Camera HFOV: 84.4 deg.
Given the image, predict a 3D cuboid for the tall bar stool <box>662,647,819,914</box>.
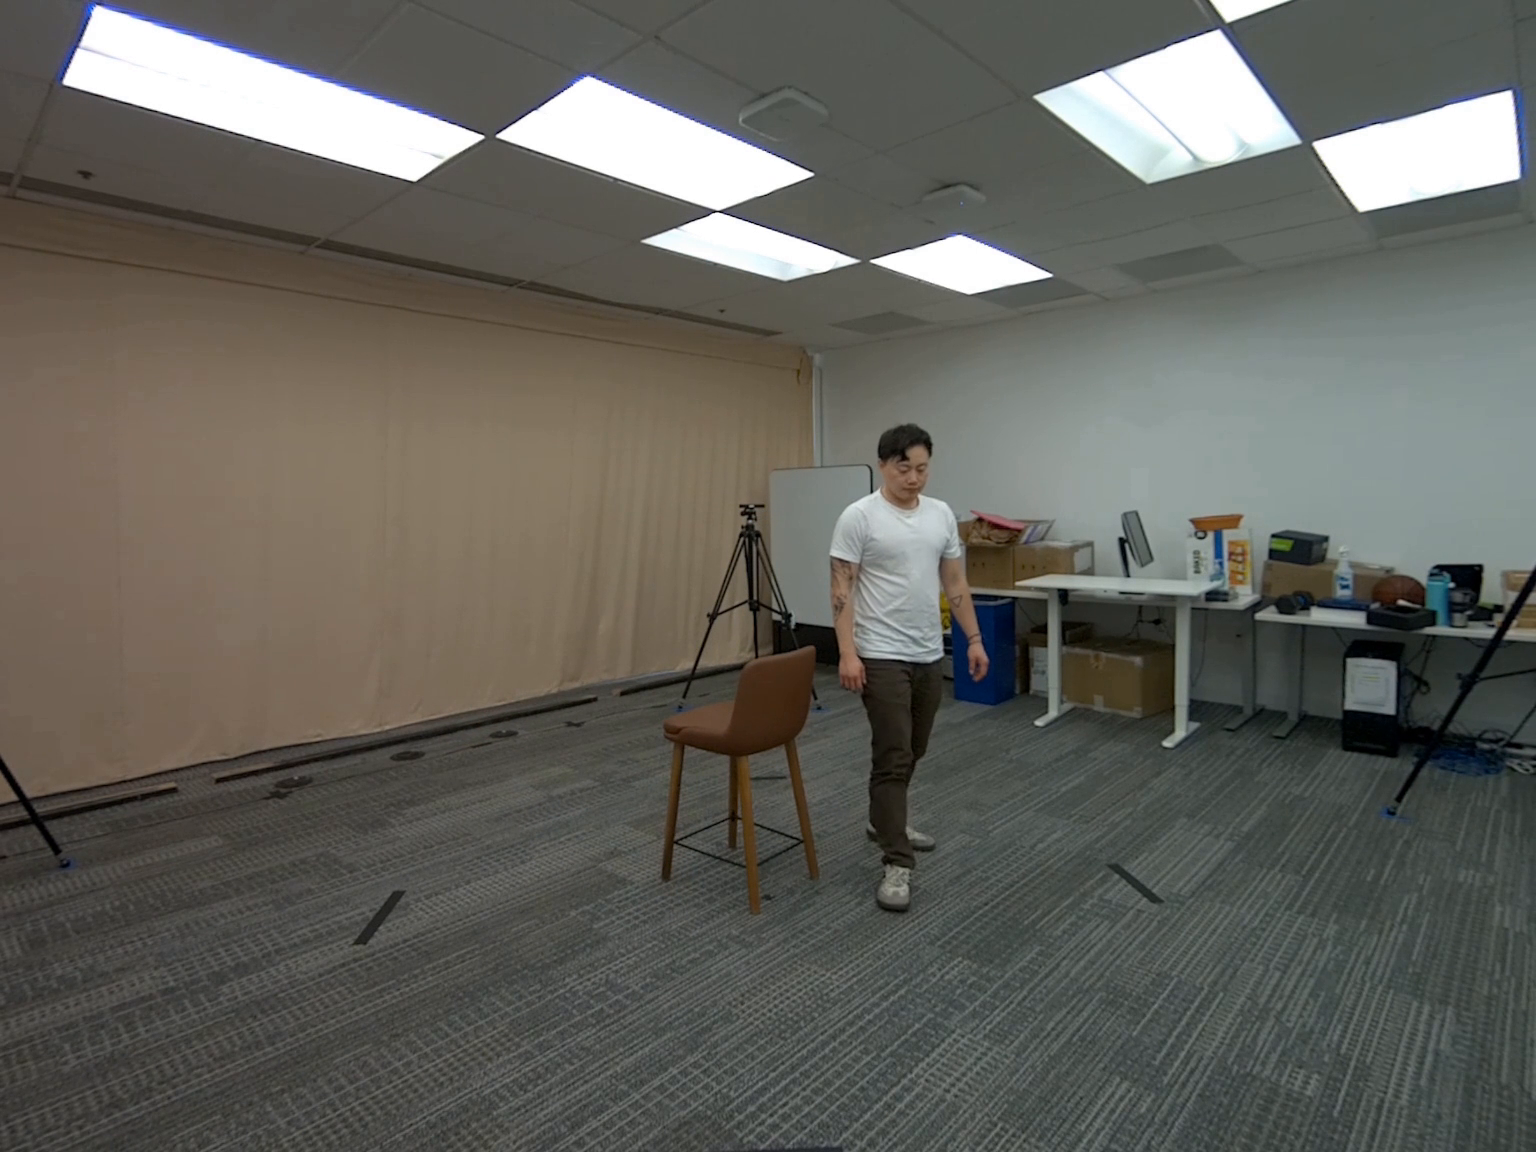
[{"bbox_3d":[-0.100,0.696,3.117,0.483,0.887,0.443,5,6,40],"label":"tall bar stool"}]
